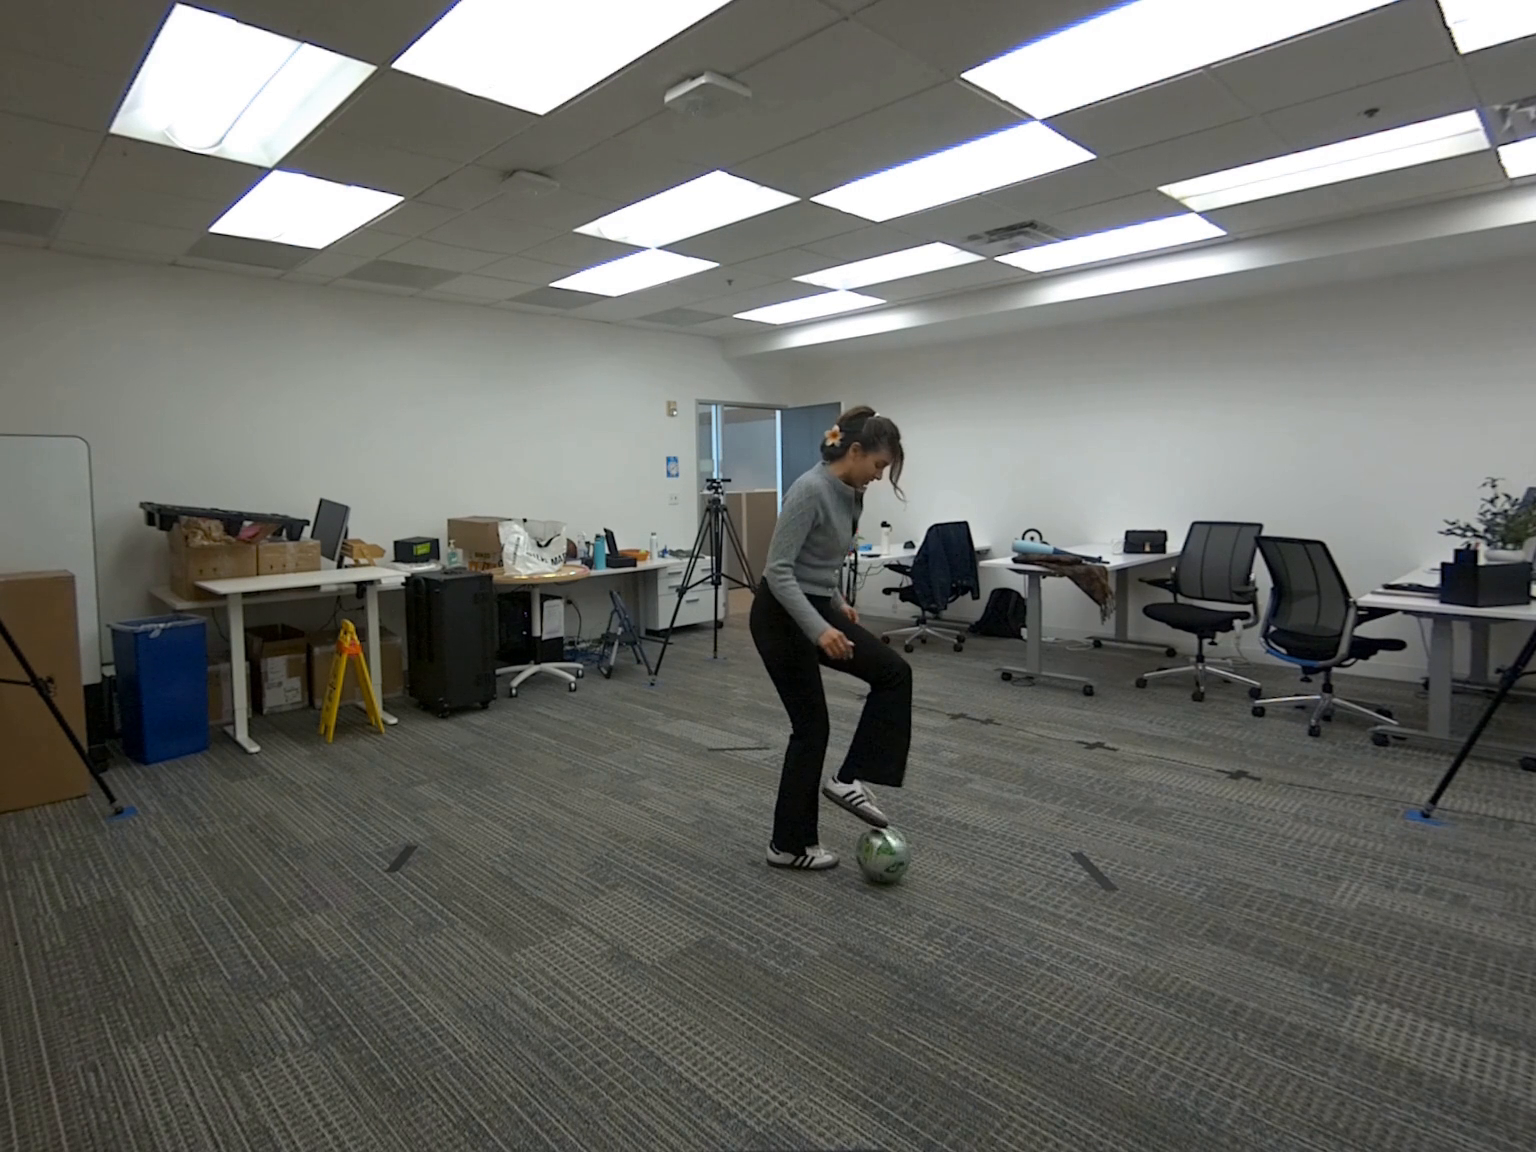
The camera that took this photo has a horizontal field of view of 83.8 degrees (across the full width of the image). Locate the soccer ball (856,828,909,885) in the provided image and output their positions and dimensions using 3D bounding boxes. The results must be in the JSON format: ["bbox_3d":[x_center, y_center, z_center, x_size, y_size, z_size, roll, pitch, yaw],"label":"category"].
[{"bbox_3d":[0.391,0.959,2.959,0.187,0.187,0.188,-1,5,-2],"label":"soccer ball"}]
